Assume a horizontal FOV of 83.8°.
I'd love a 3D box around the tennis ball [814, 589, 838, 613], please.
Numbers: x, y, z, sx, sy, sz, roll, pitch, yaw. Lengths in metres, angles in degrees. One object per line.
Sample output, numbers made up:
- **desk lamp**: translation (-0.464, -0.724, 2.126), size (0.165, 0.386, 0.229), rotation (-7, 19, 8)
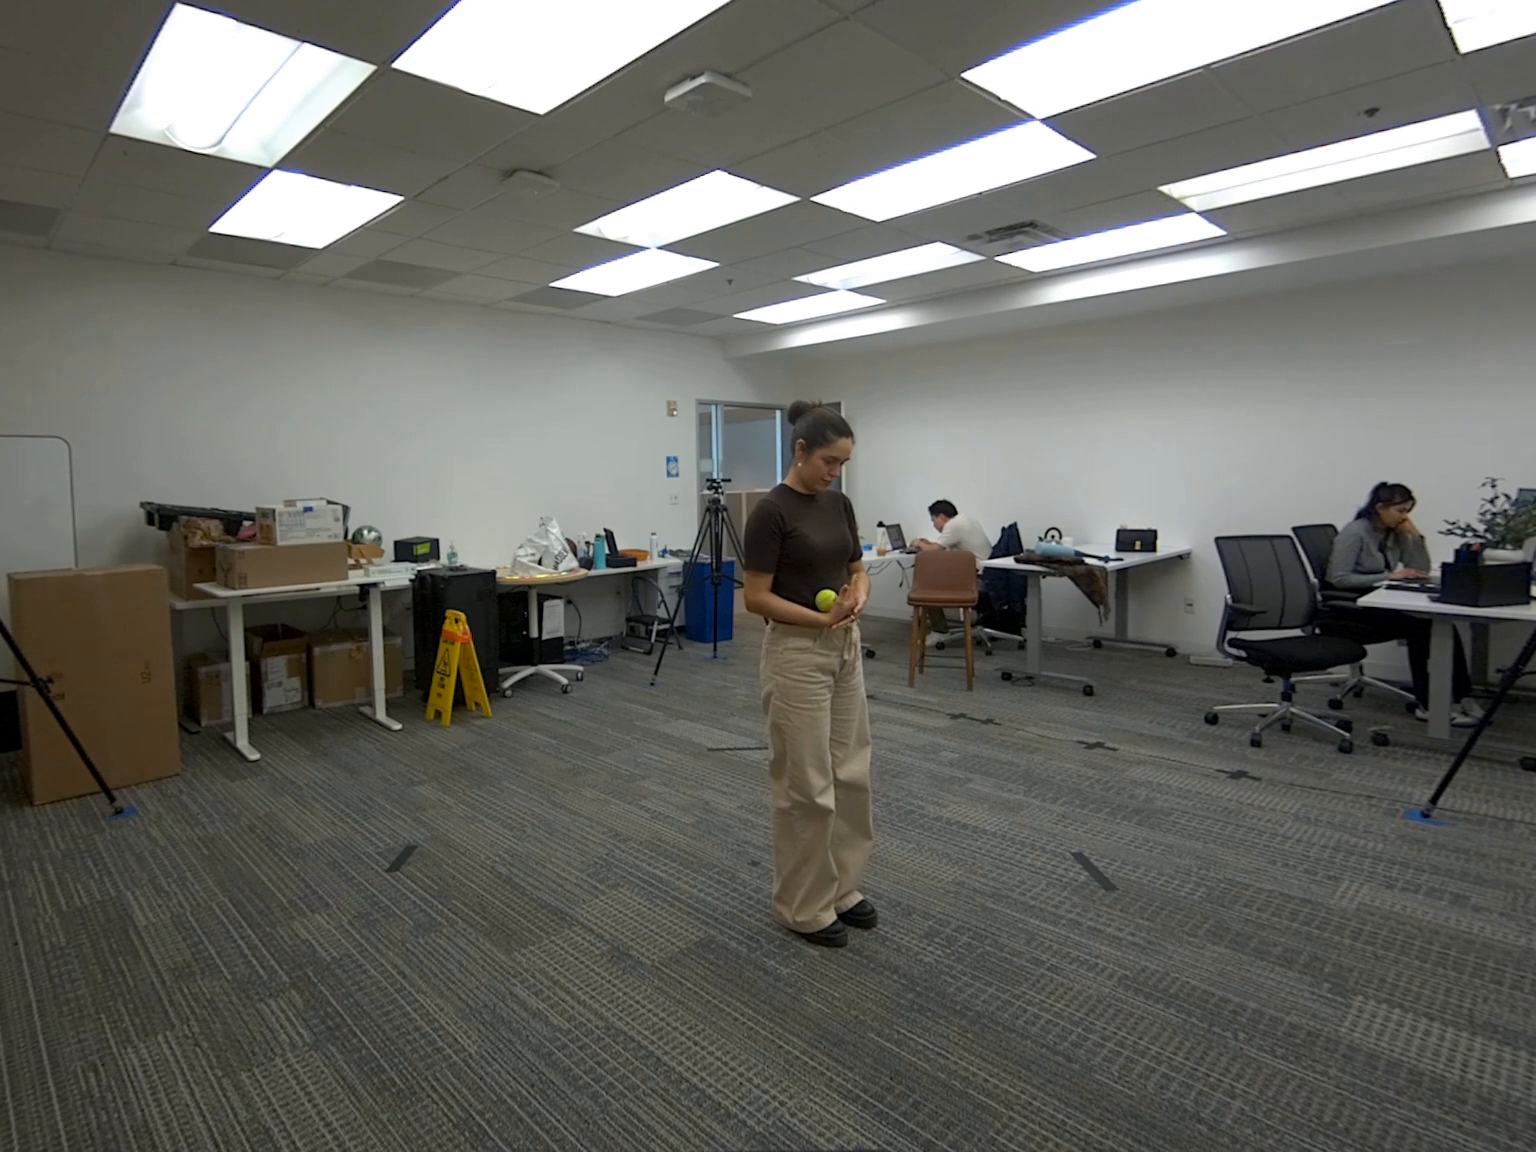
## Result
- **tennis ball**: translation (0.169, 0.062, 2.520), size (0.066, 0.066, 0.067), rotation (-1, 5, -2)
